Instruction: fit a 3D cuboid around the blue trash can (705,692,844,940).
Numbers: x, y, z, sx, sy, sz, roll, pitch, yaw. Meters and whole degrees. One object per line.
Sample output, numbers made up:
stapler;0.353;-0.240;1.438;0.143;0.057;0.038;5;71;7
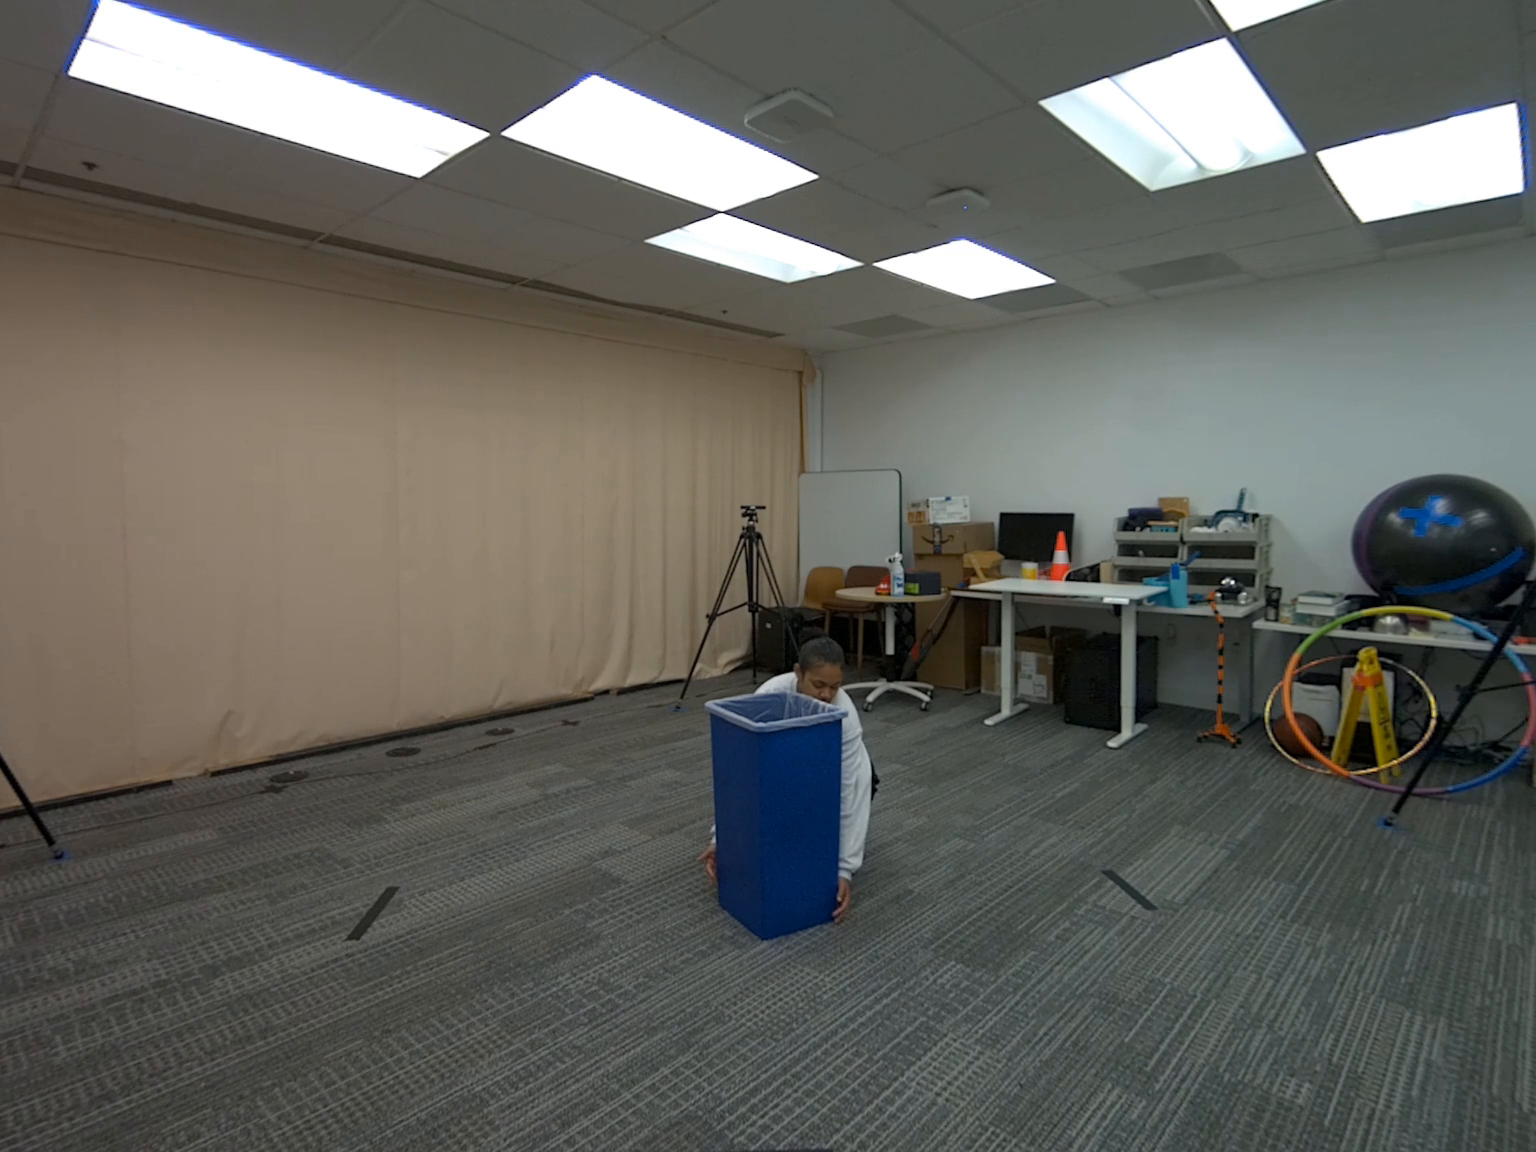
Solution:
blue trash can;0.022;0.791;2.873;0.368;0.712;0.385;-2;4;-31
